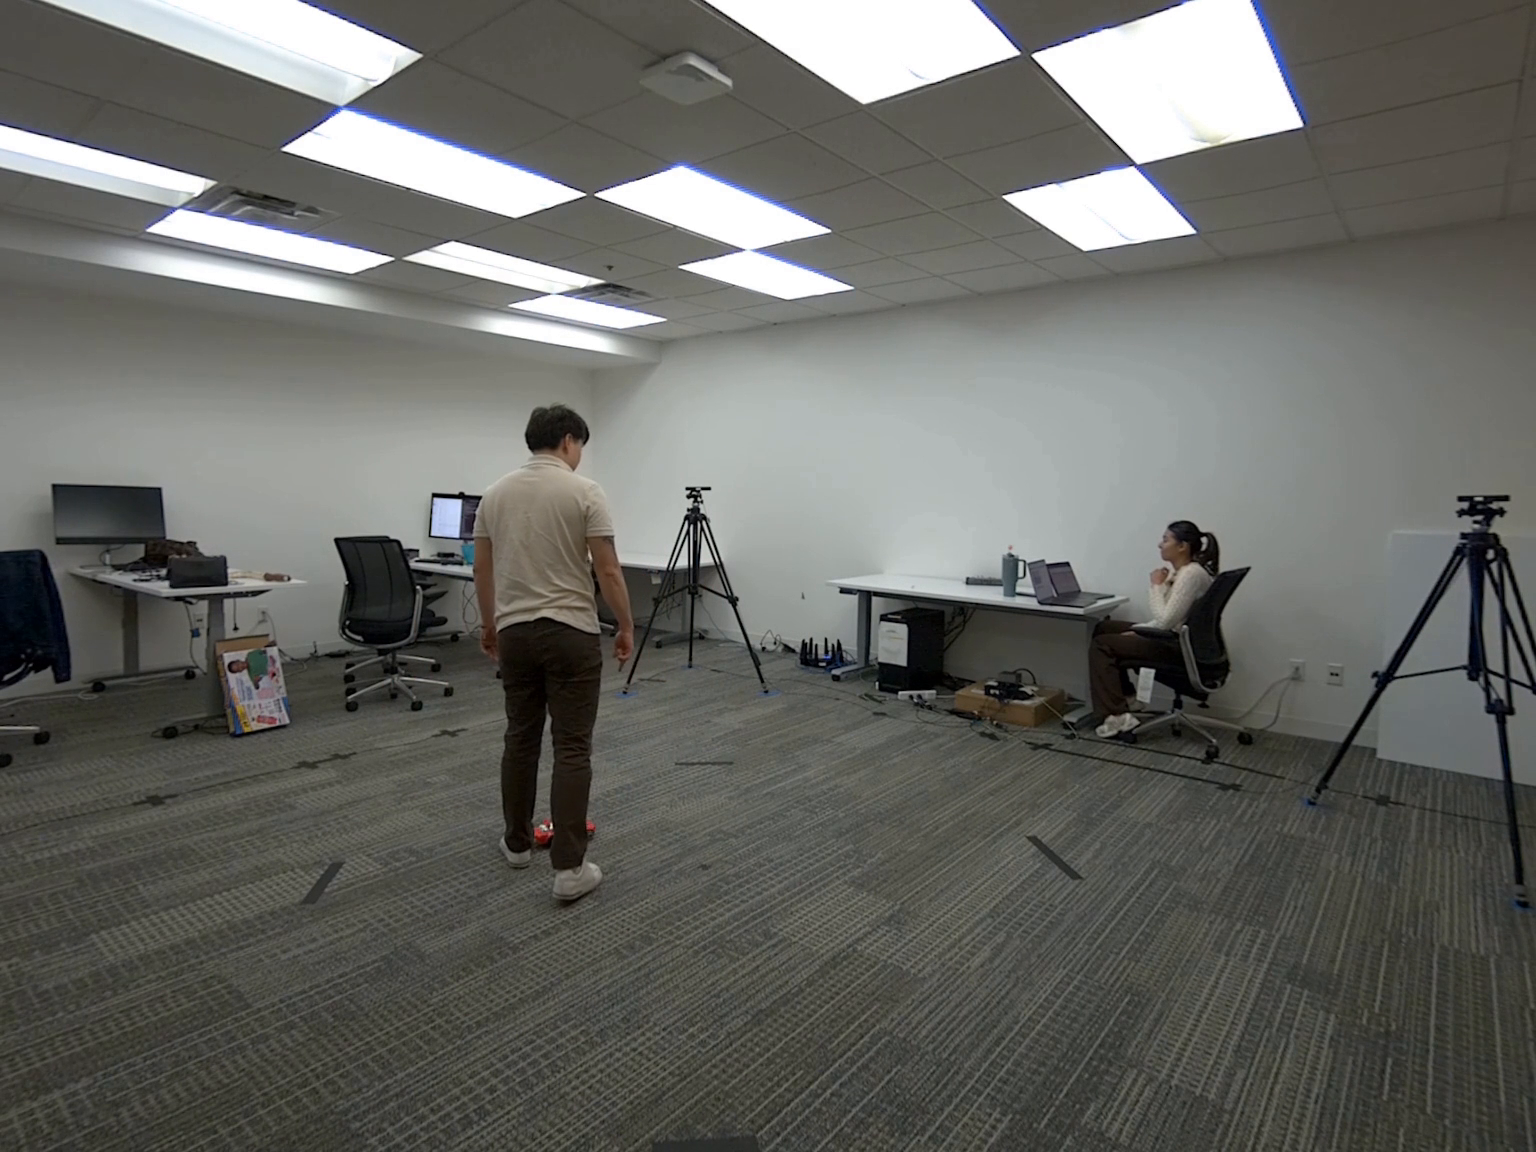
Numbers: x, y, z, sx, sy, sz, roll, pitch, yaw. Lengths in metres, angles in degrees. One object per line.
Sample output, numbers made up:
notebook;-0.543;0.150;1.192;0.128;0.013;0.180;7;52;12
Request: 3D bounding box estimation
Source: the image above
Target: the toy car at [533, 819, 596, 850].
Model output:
toy car;-0.818;0.997;3.321;0.247;0.083;0.134;10;-1;-30
